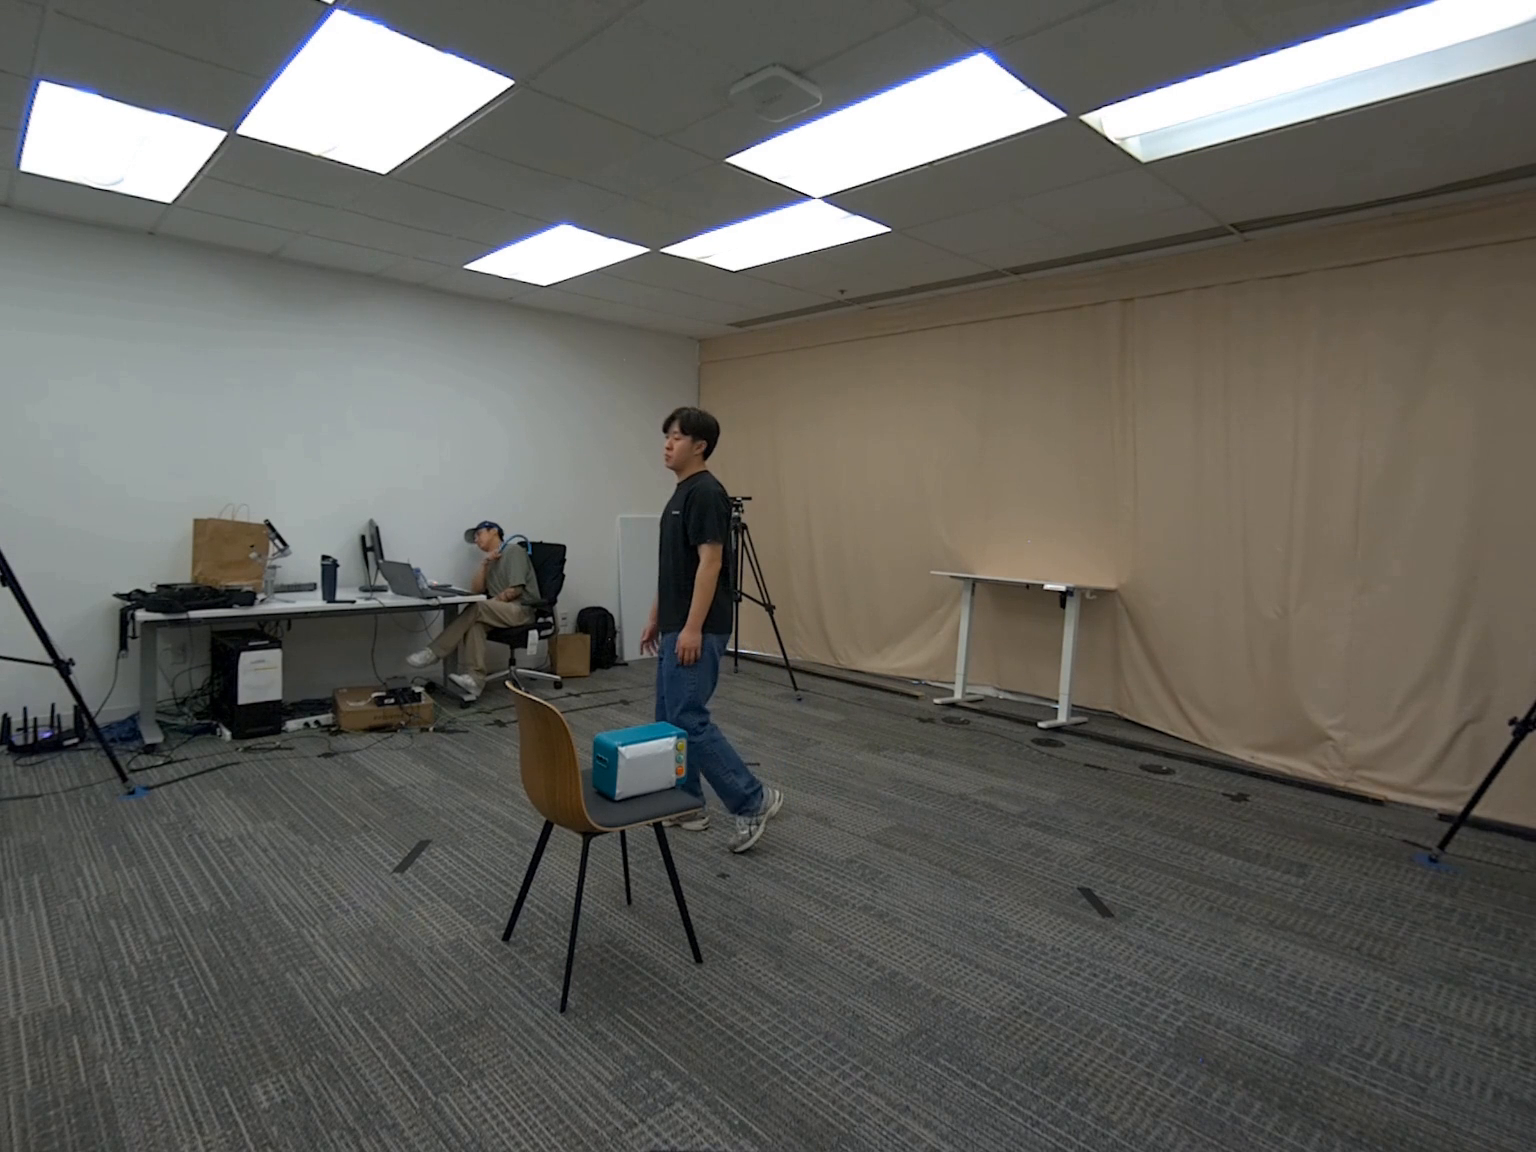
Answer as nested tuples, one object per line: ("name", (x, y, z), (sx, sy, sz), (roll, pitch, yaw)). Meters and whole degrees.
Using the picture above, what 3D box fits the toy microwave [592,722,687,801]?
("toy microwave", (-0.400, 0.578, 2.618), (0.280, 0.183, 0.156), (-2, 7, -39))
